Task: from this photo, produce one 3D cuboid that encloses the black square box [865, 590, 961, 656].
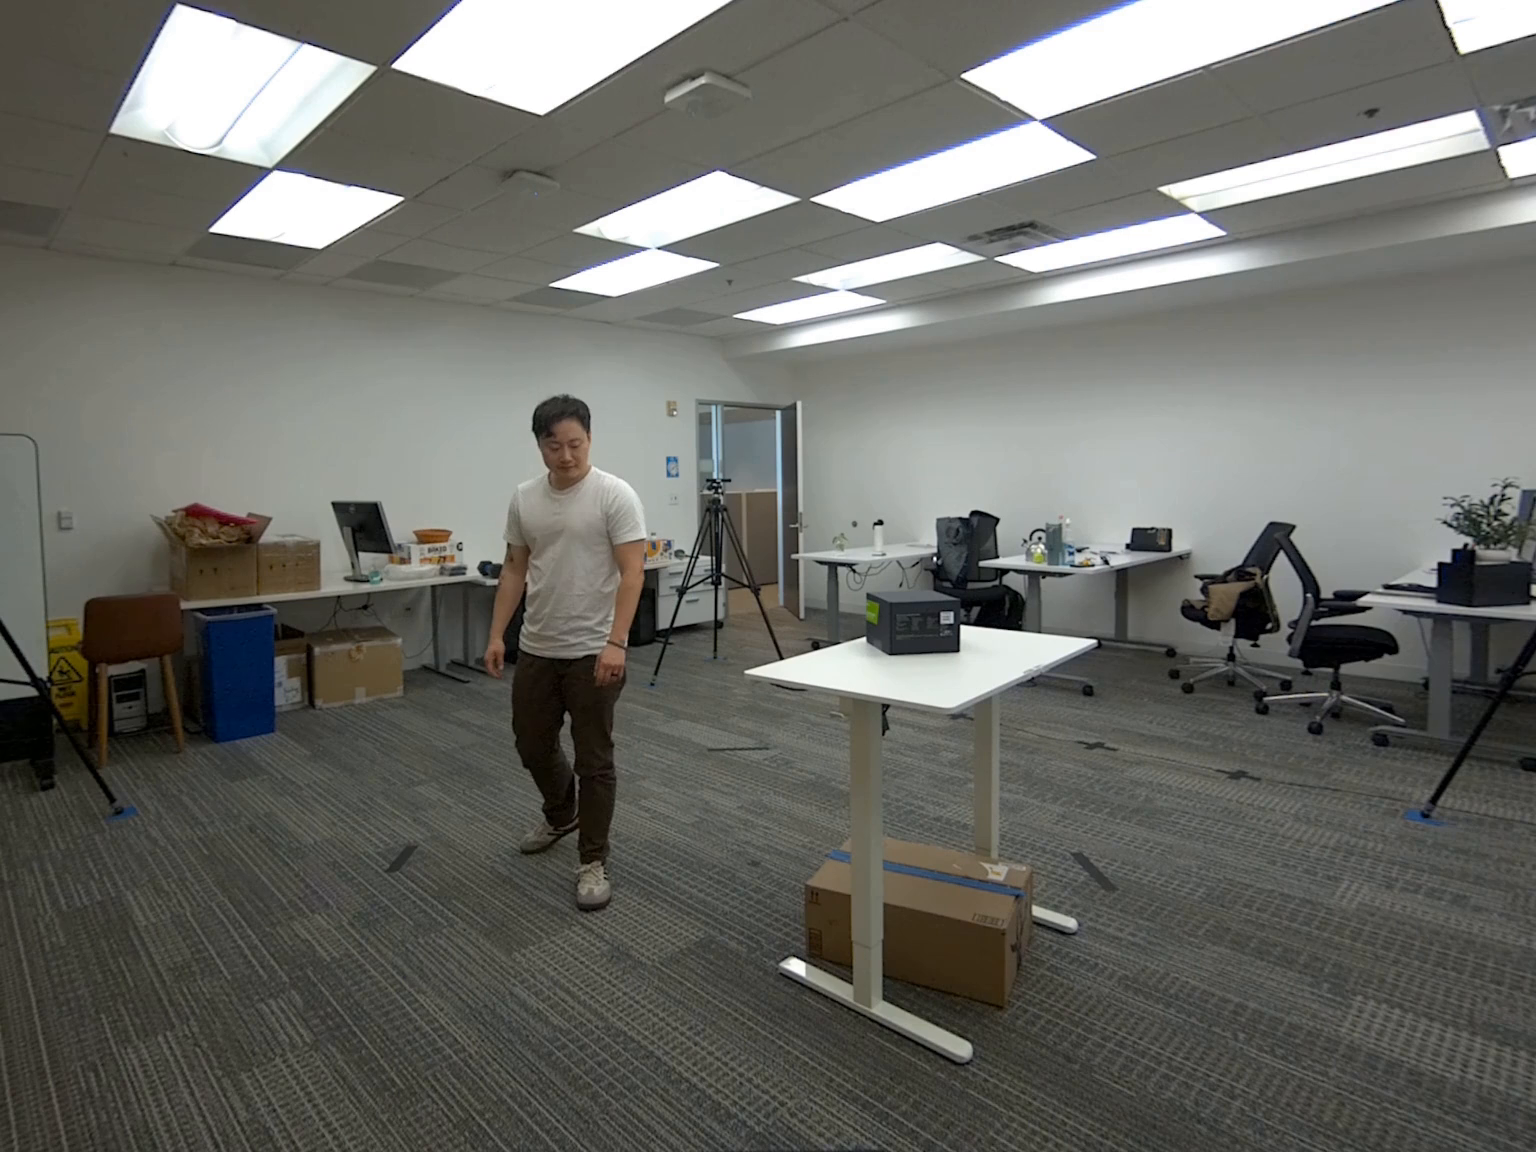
[{"bbox_3d":[0.436,0.134,2.575,0.215,0.155,0.231,-2,5,-10],"label":"black square box"}]
